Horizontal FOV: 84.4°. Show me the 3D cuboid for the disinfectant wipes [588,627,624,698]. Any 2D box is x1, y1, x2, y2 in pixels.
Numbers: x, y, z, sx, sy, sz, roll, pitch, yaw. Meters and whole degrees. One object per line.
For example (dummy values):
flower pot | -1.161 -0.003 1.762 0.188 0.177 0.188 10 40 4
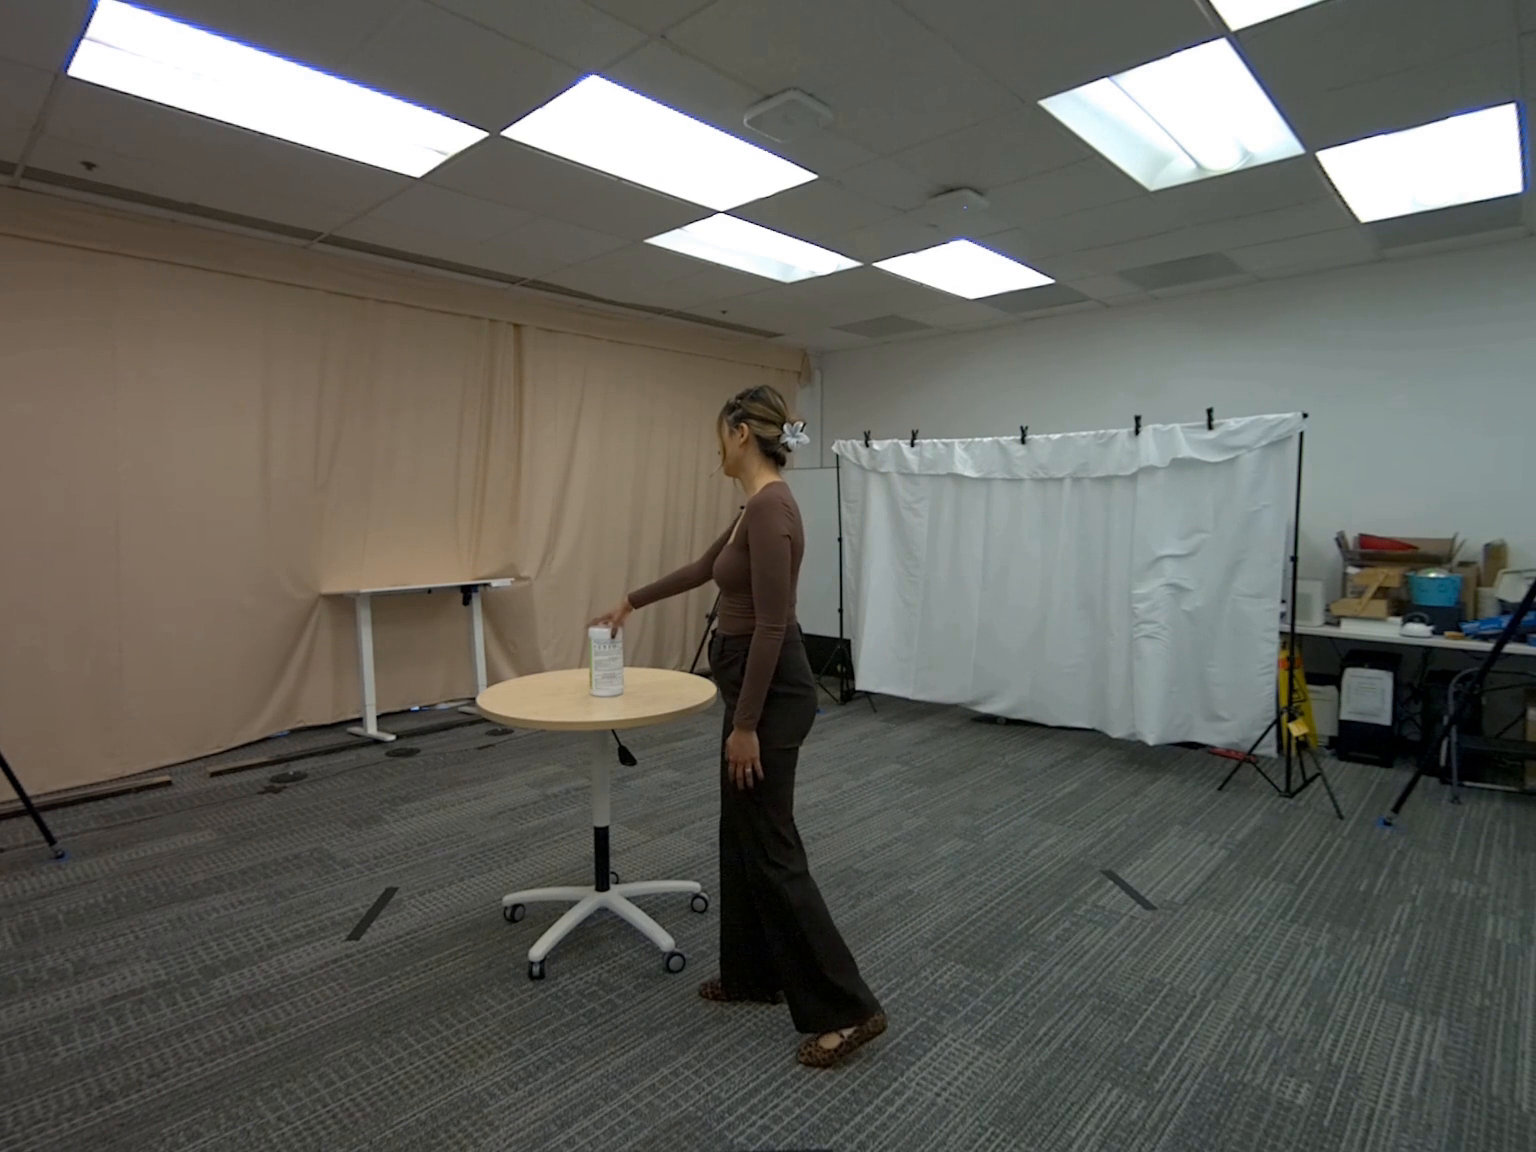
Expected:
disinfectant wipes | -0.513 0.271 2.676 0.118 0.217 0.118 0 2 -2
